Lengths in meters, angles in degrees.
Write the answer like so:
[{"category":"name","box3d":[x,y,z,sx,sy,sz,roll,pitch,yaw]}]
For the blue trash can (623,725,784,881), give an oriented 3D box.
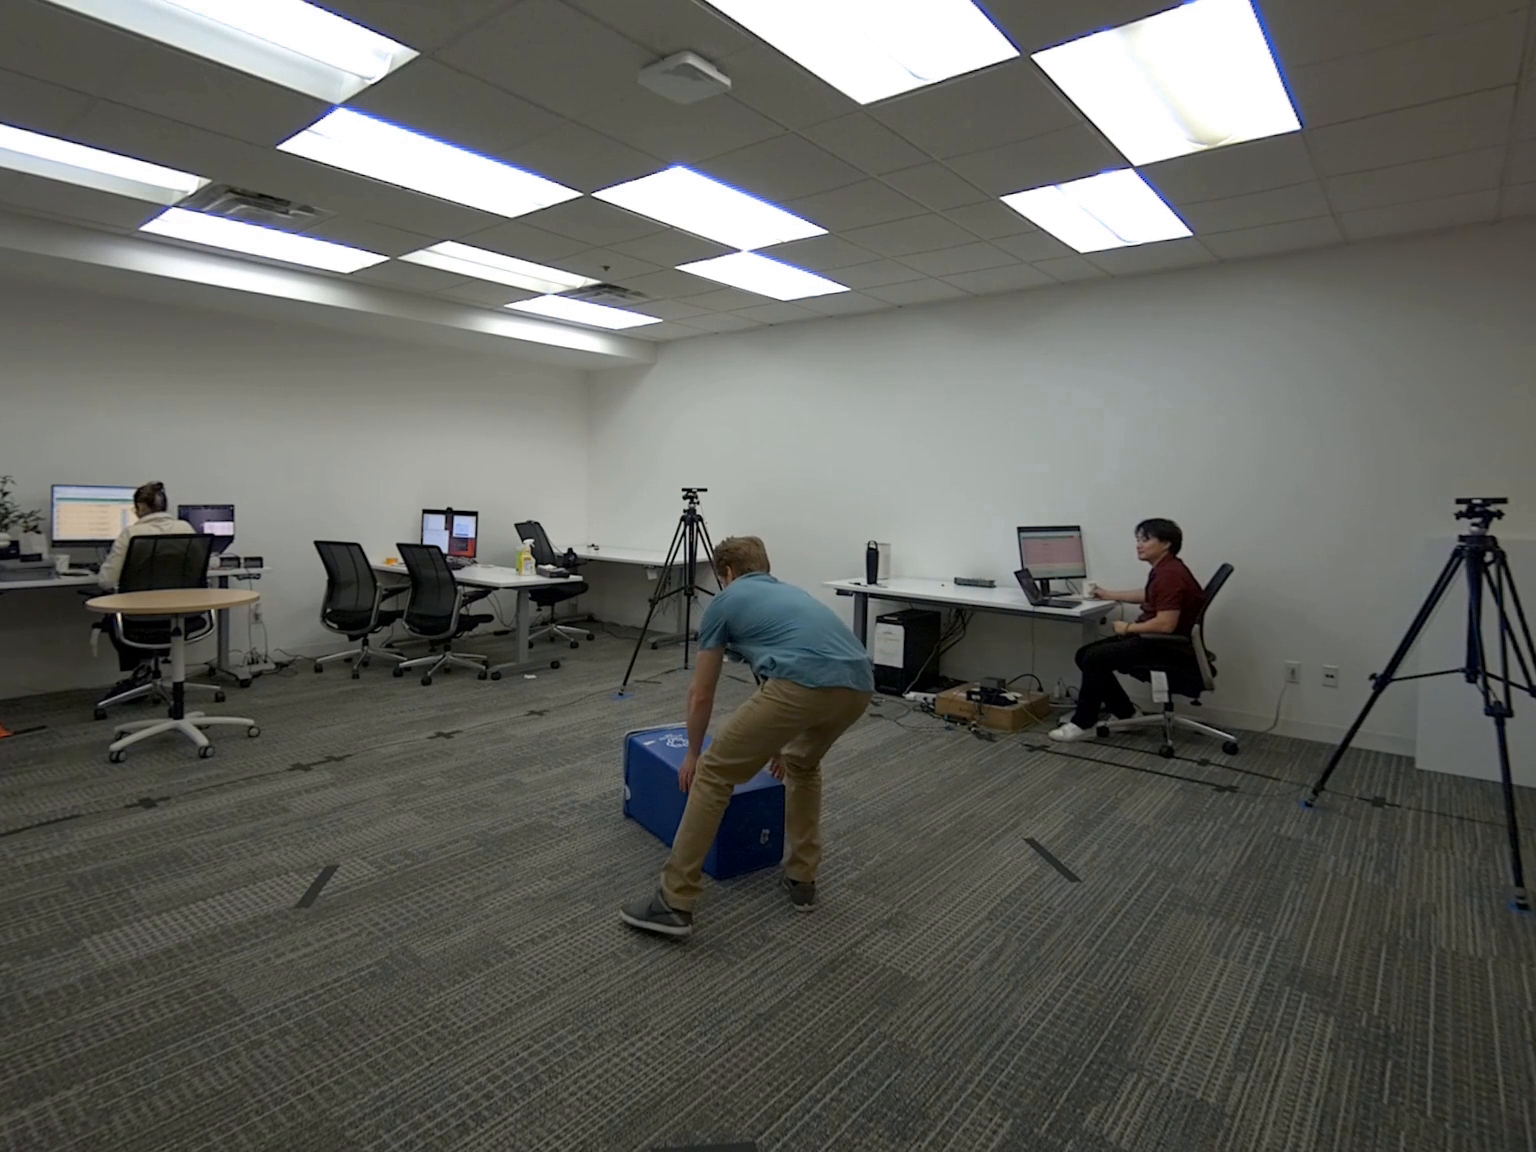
[{"category":"blue trash can","box3d":[-0.272,0.875,3.379,0.363,0.376,0.738,-2,9,-34]}]
